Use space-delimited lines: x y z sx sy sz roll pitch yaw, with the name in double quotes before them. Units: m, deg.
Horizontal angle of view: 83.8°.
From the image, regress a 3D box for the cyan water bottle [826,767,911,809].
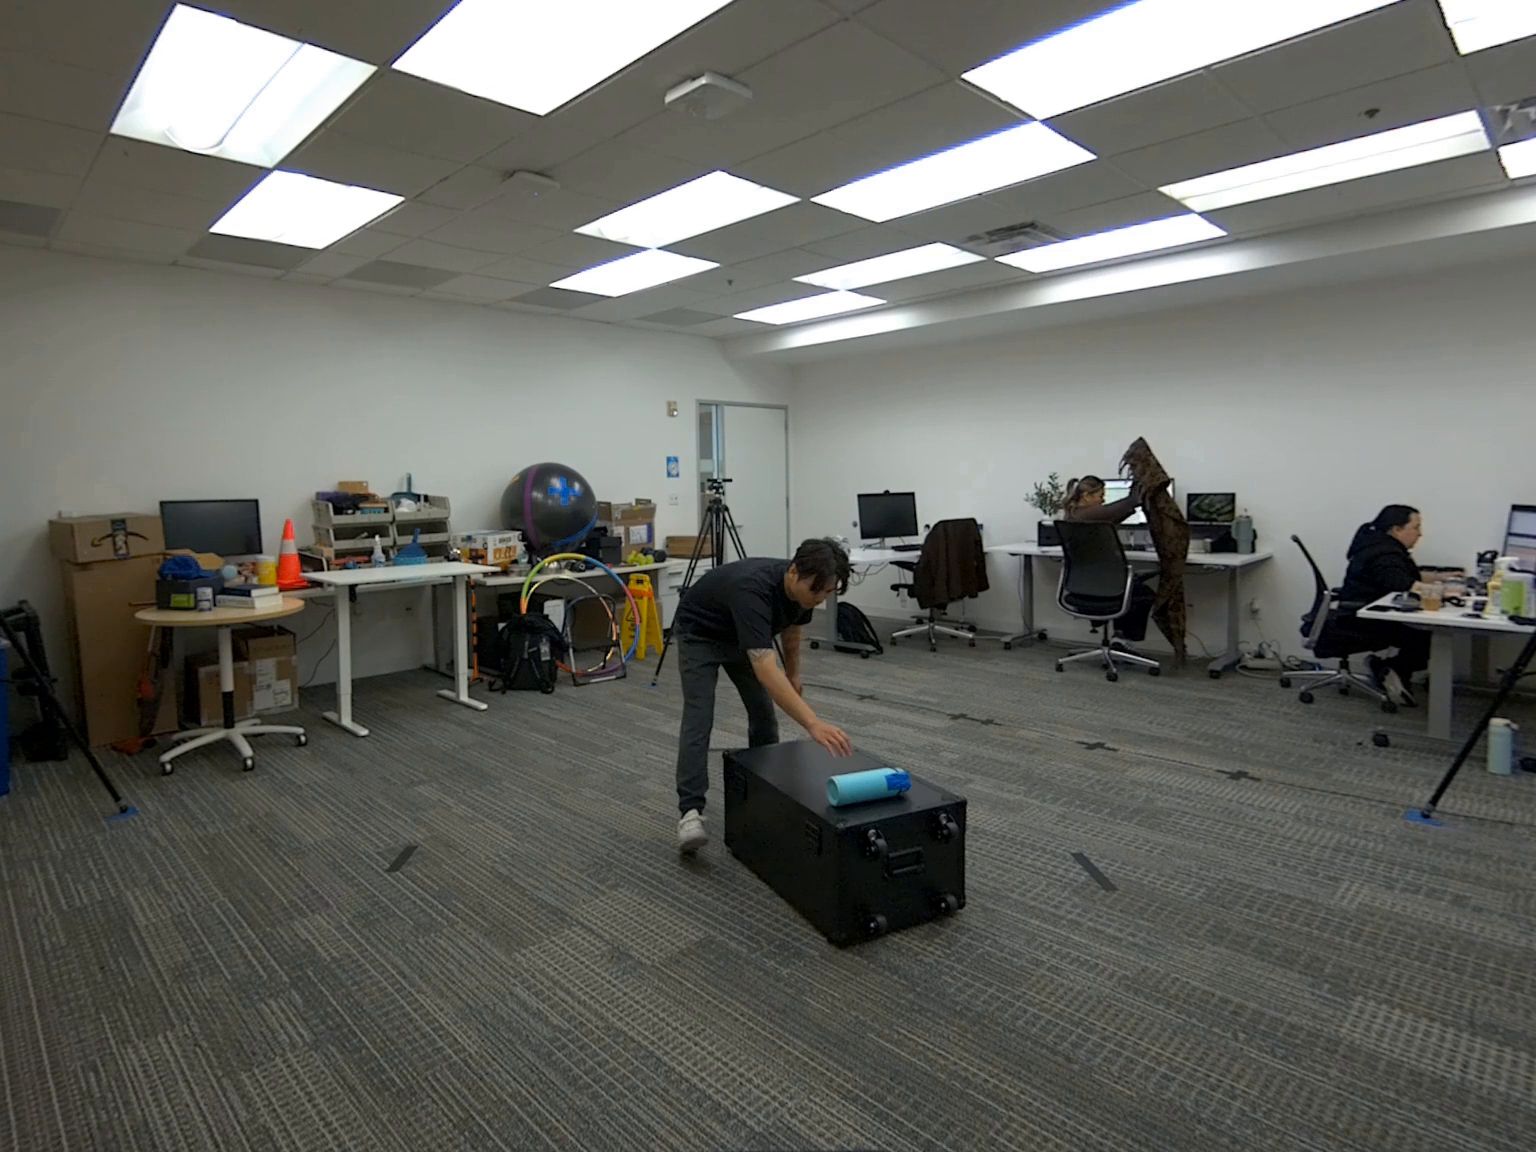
"cyan water bottle" 0.328 0.660 2.716 0.278 0.092 0.094 -2 5 -23
